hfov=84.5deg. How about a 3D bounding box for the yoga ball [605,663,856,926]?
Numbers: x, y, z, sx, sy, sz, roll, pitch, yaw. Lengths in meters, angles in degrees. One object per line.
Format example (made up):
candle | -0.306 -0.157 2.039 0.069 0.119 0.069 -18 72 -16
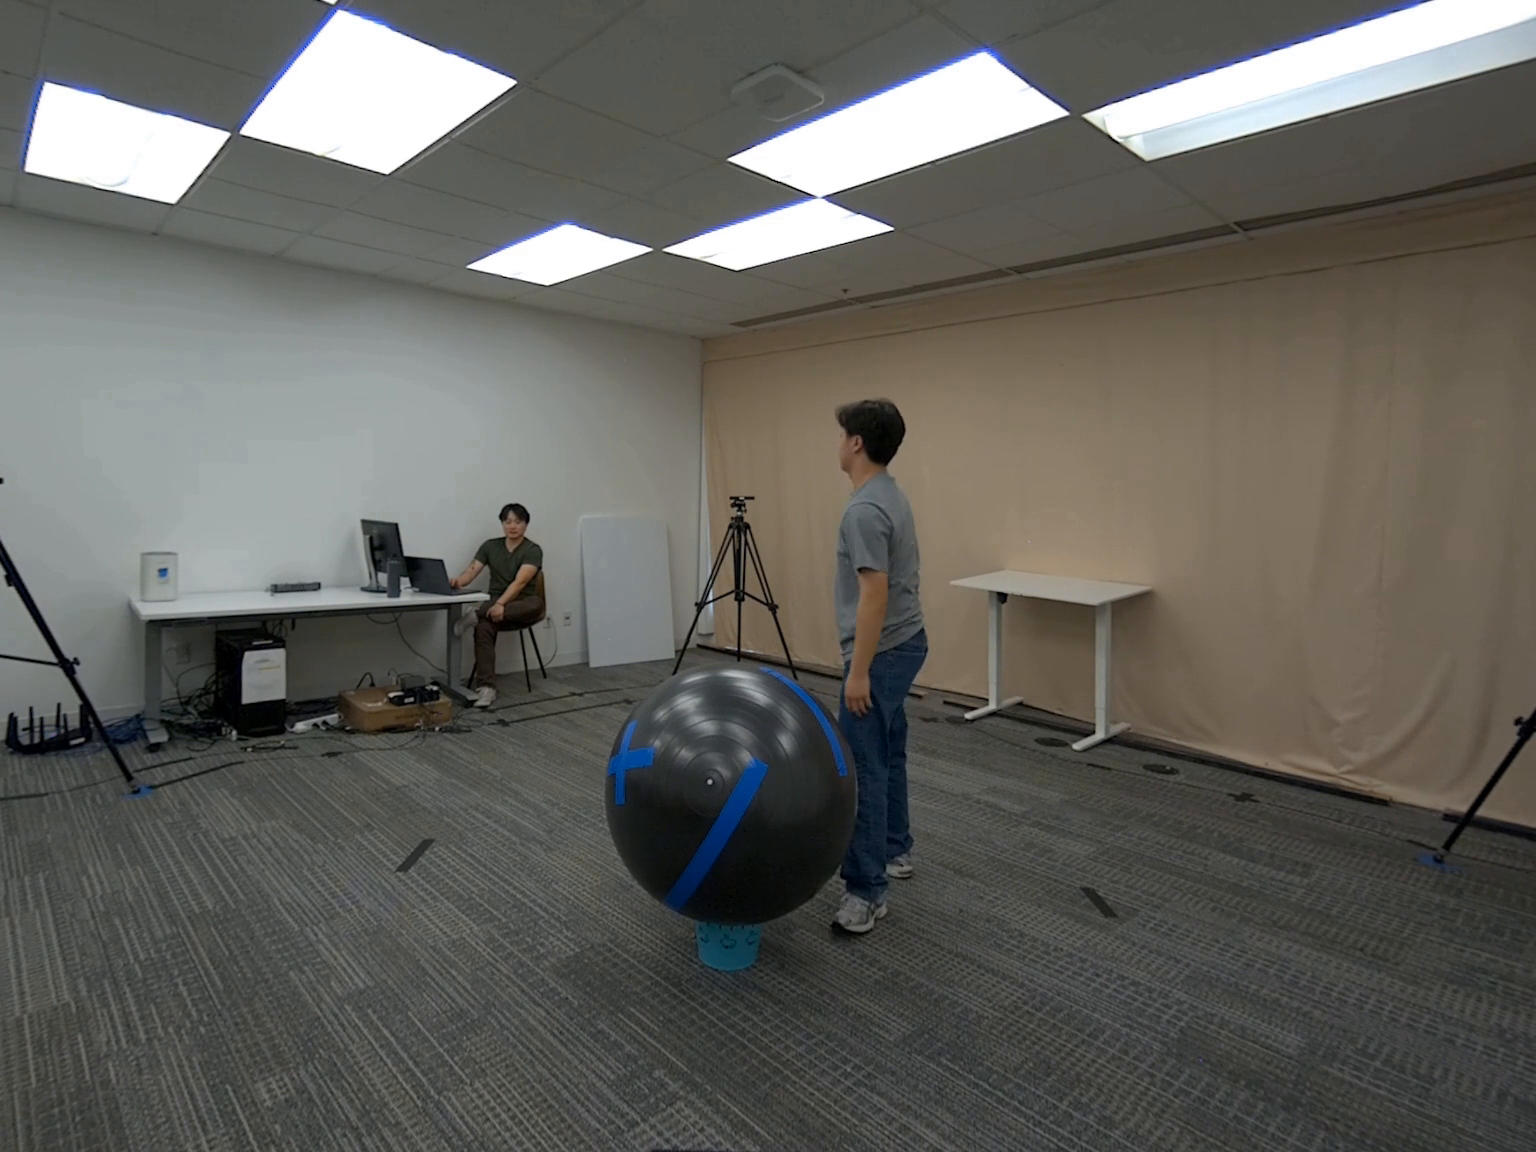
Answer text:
yoga ball | -0.114 0.644 2.538 0.757 0.756 0.761 1 4 -1
